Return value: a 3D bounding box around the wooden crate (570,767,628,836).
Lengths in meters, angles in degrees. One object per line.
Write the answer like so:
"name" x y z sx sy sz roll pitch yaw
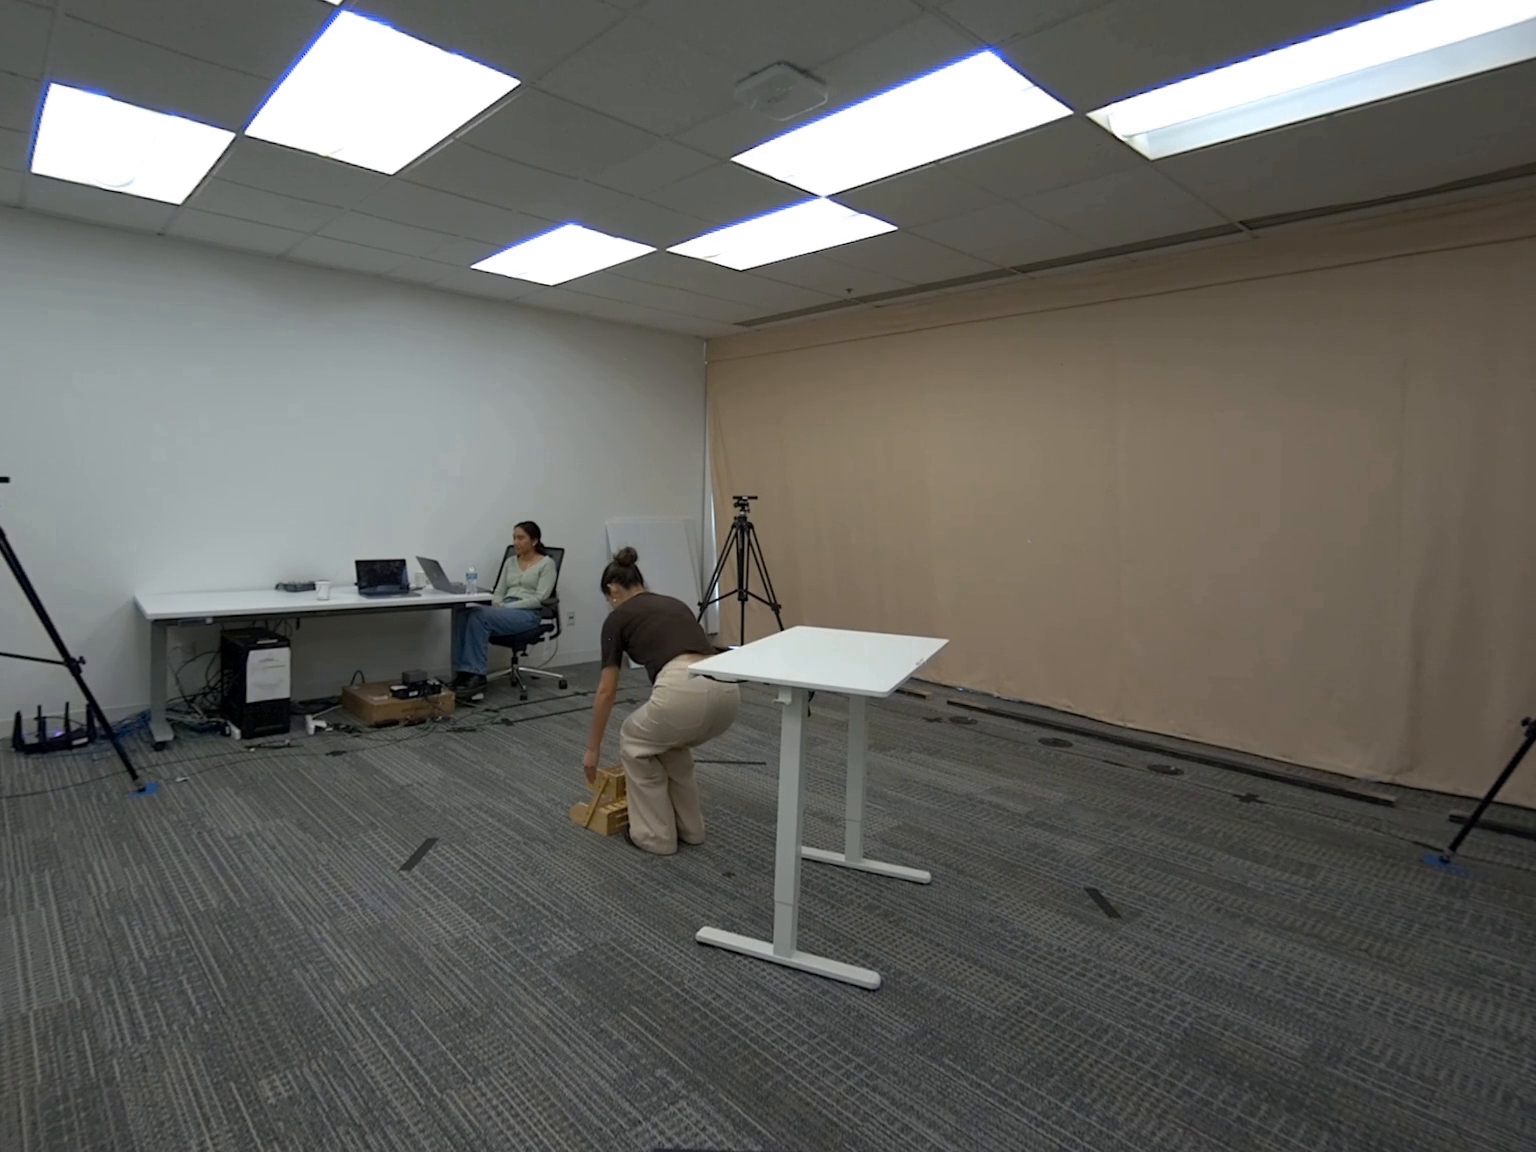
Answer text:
"wooden crate" -0.643 0.913 3.603 0.310 0.272 0.317 6 6 39
